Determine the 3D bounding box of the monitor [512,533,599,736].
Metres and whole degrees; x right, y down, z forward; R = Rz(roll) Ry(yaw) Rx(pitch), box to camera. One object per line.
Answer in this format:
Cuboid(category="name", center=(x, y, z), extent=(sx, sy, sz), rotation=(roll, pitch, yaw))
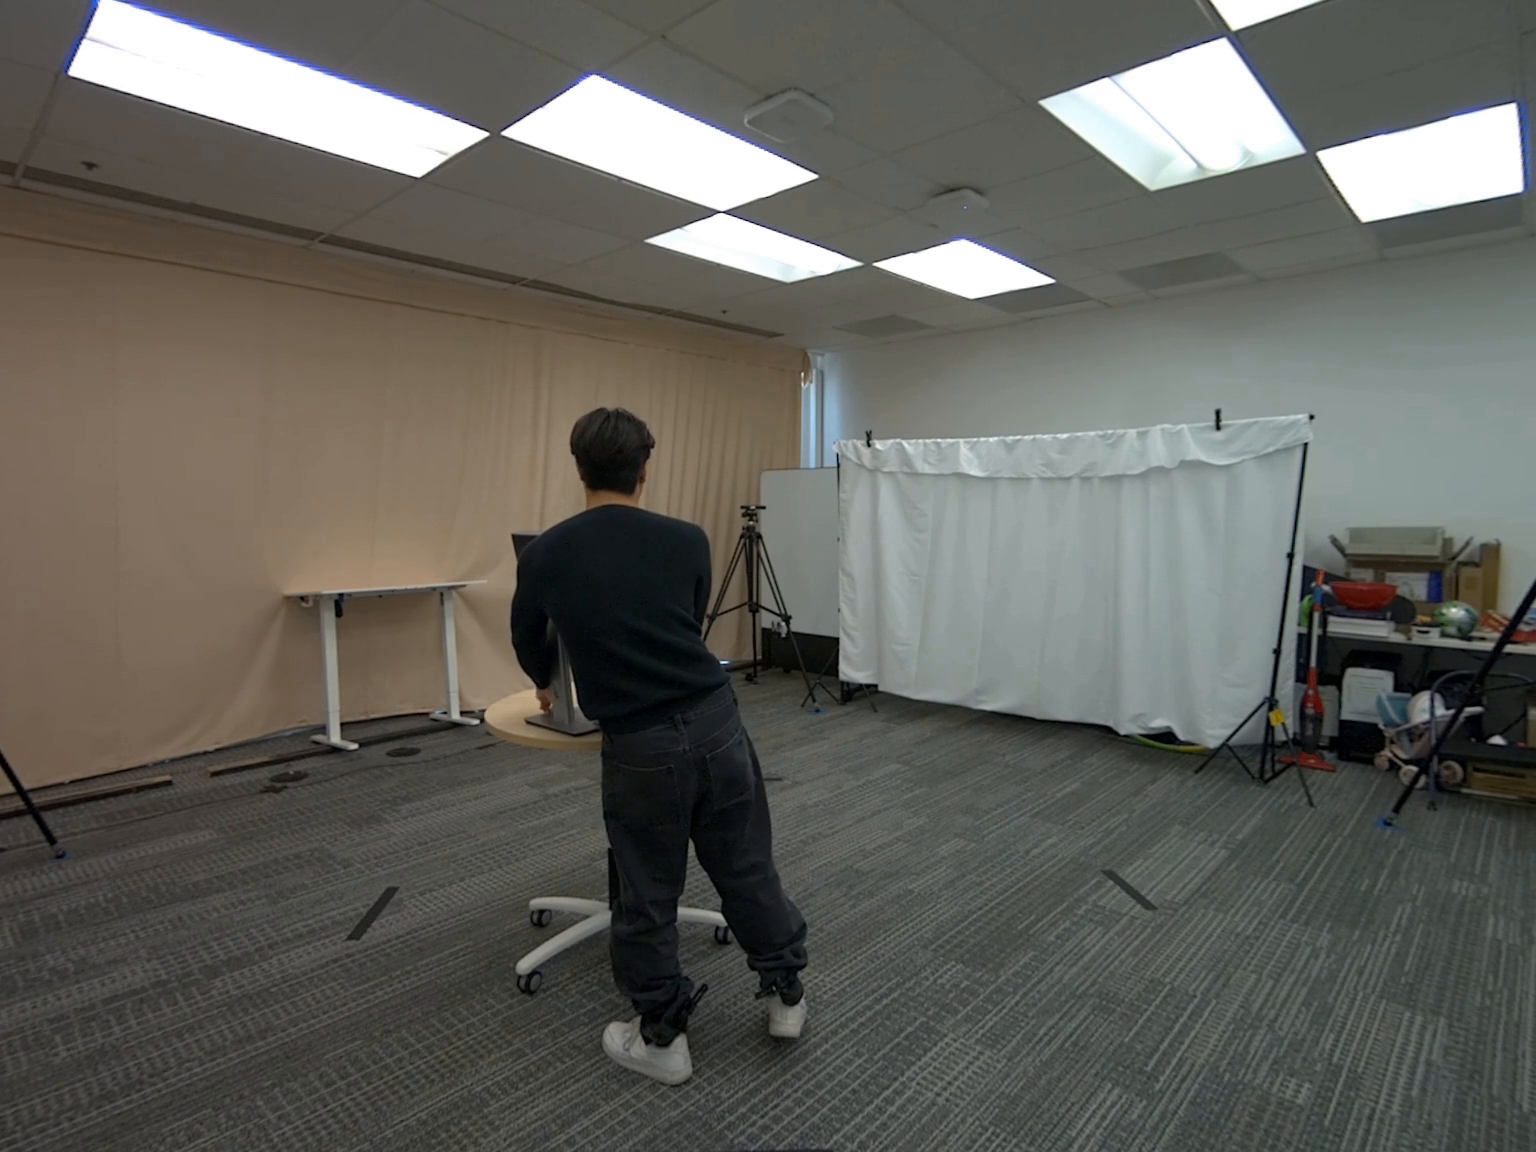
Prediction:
Cuboid(category="monitor", center=(-0.553, 0.148, 2.385), extent=(0.557, 0.521, 0.181), rotation=(3, 5, 38))
